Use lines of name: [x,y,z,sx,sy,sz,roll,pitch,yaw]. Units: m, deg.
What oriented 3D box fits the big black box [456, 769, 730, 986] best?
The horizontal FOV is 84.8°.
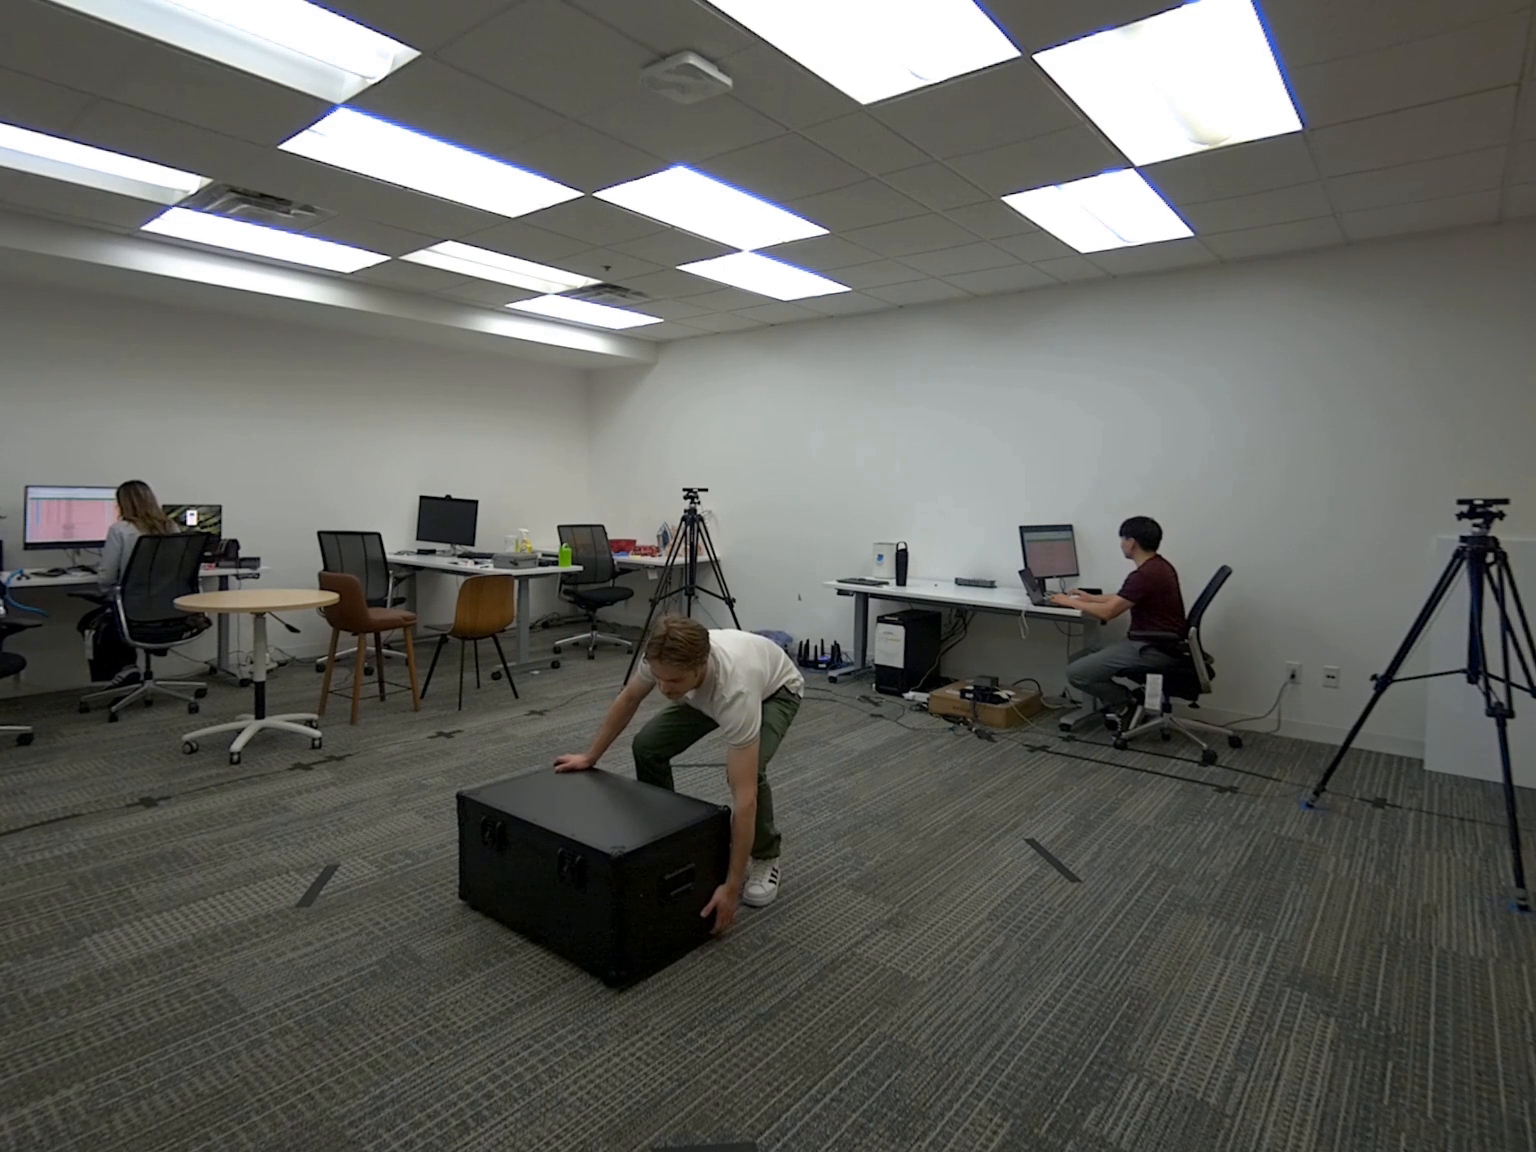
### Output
big black box: [-0.607,0.899,2.764,0.897,0.384,0.508,3,6,39]
